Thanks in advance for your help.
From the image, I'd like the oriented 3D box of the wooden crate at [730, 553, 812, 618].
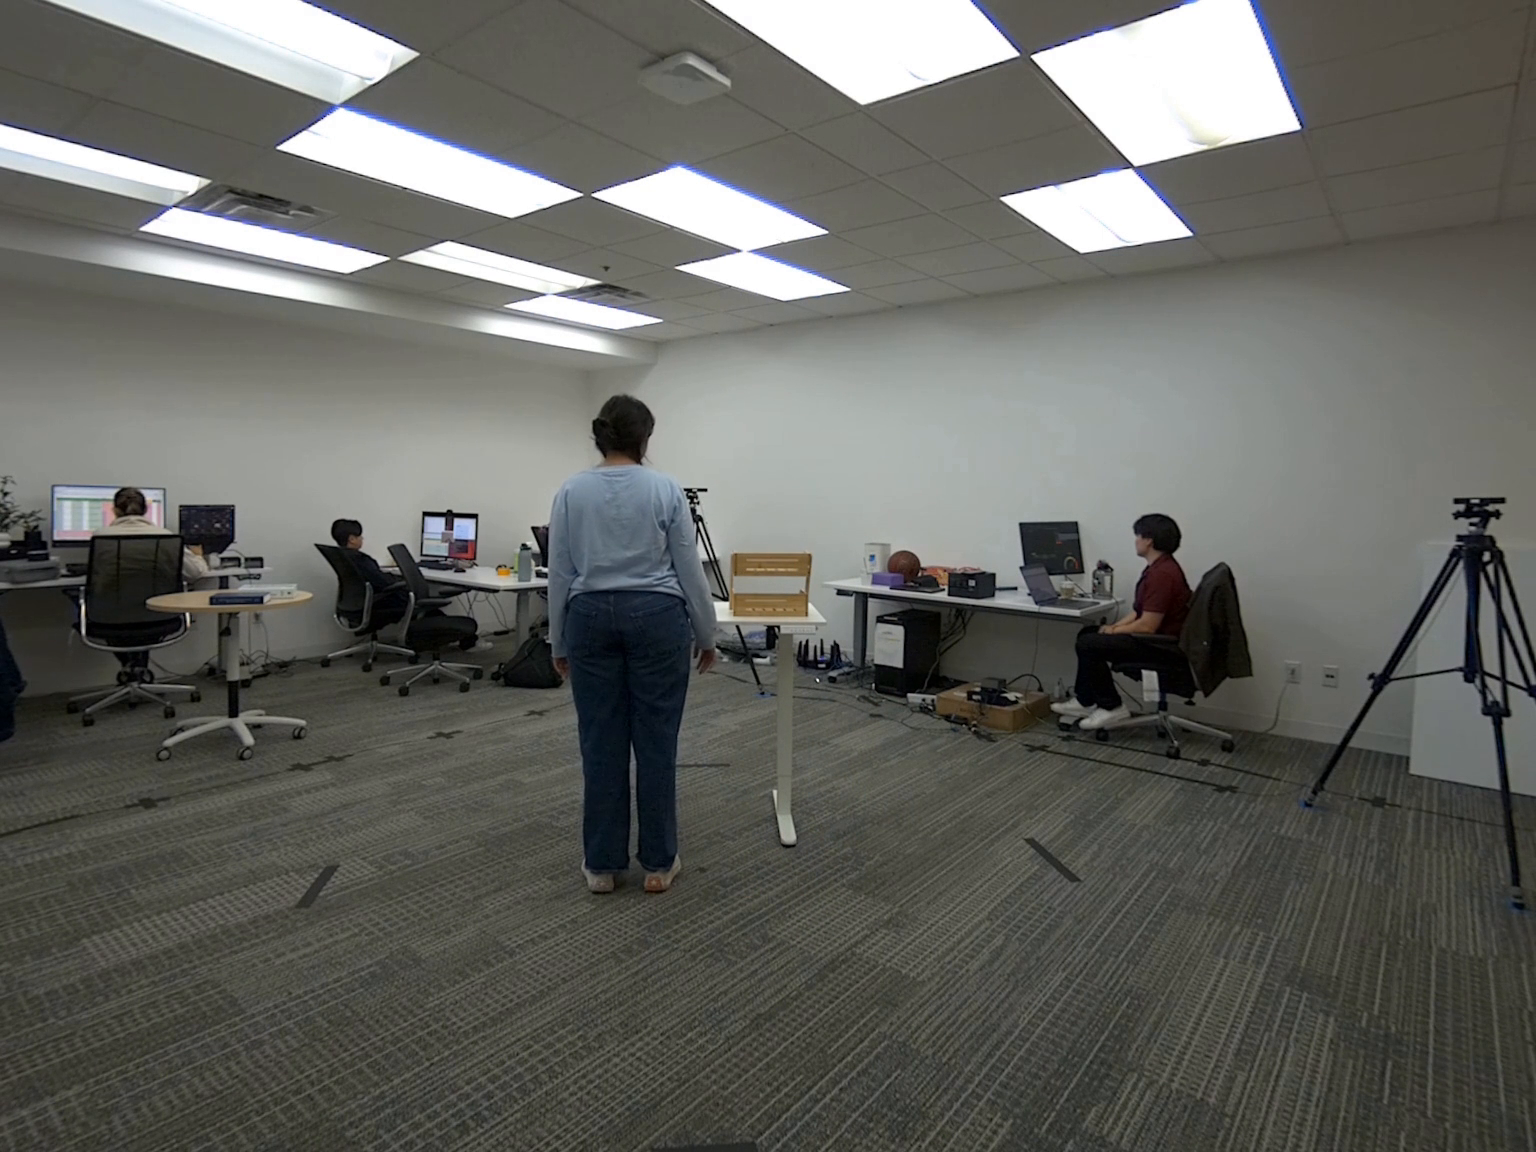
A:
[{"bbox_3d":[-0.008,0.015,3.506,0.323,0.272,0.304,1,5,-4],"label":"wooden crate"}]
